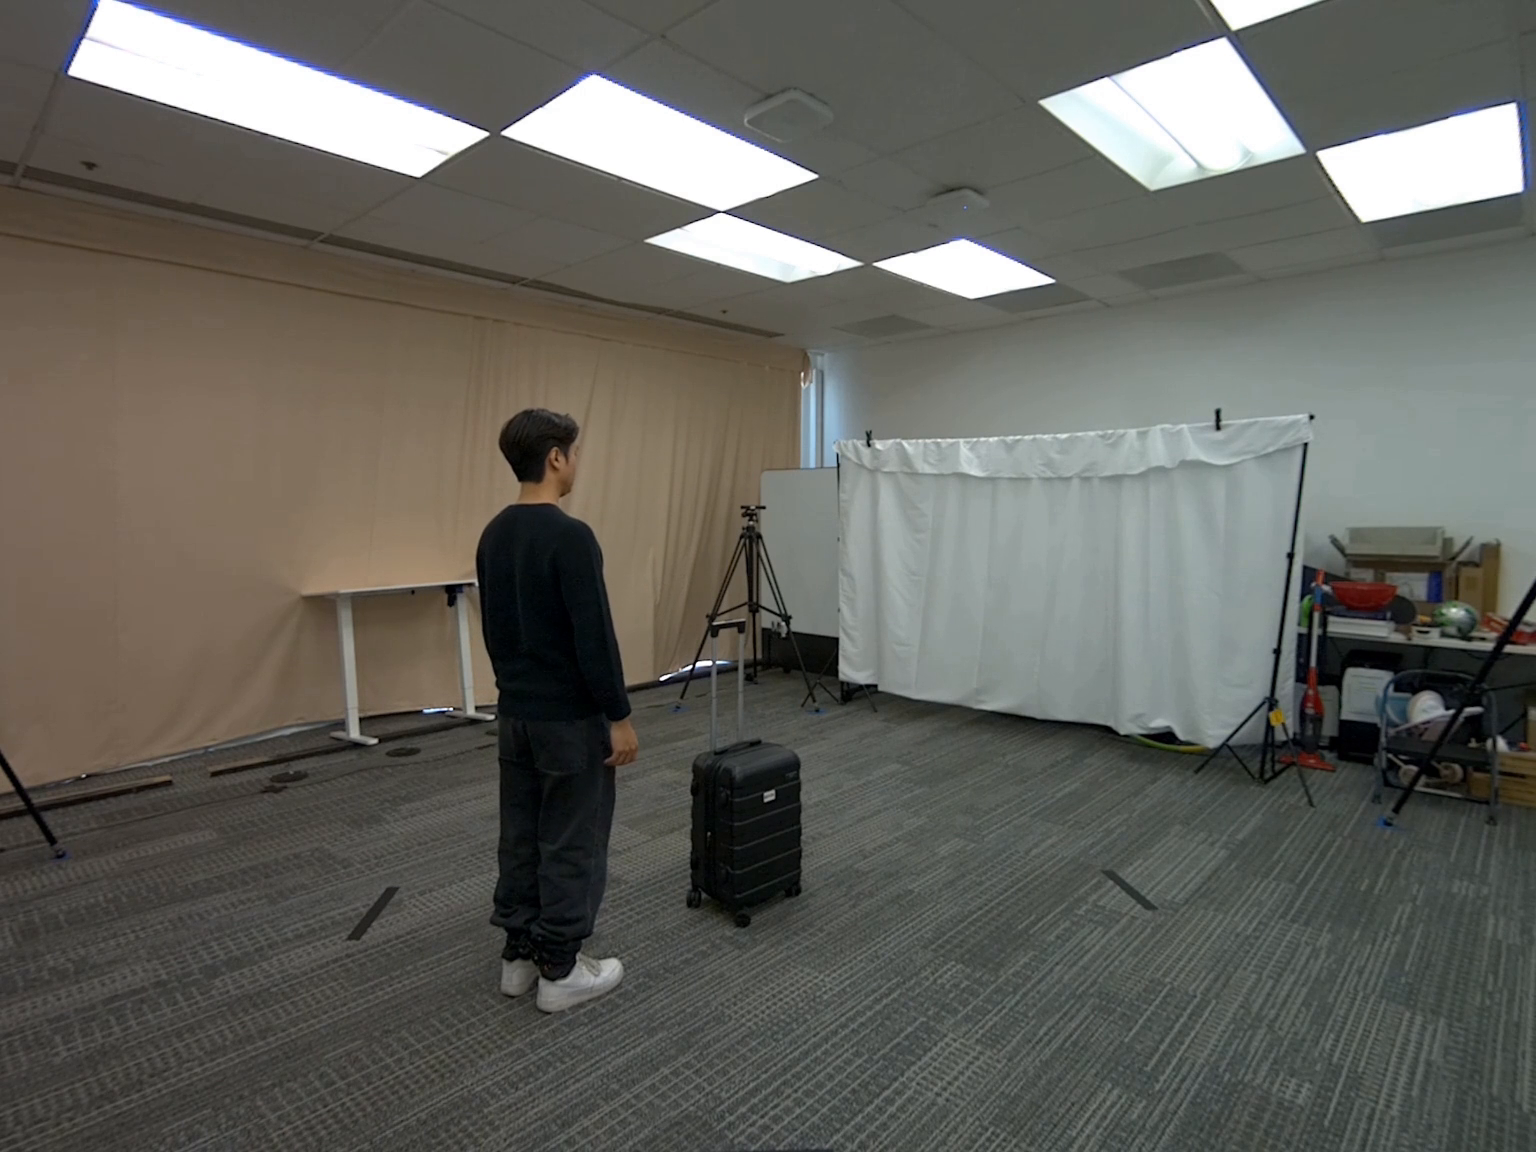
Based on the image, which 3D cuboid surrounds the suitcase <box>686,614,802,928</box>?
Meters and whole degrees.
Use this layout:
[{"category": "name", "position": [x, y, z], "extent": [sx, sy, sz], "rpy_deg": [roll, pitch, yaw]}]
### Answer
[{"category": "suitcase", "position": [-0.066, 0.668, 2.943], "extent": [0.266, 0.976, 0.372], "rpy_deg": [5, 6, 44]}]
